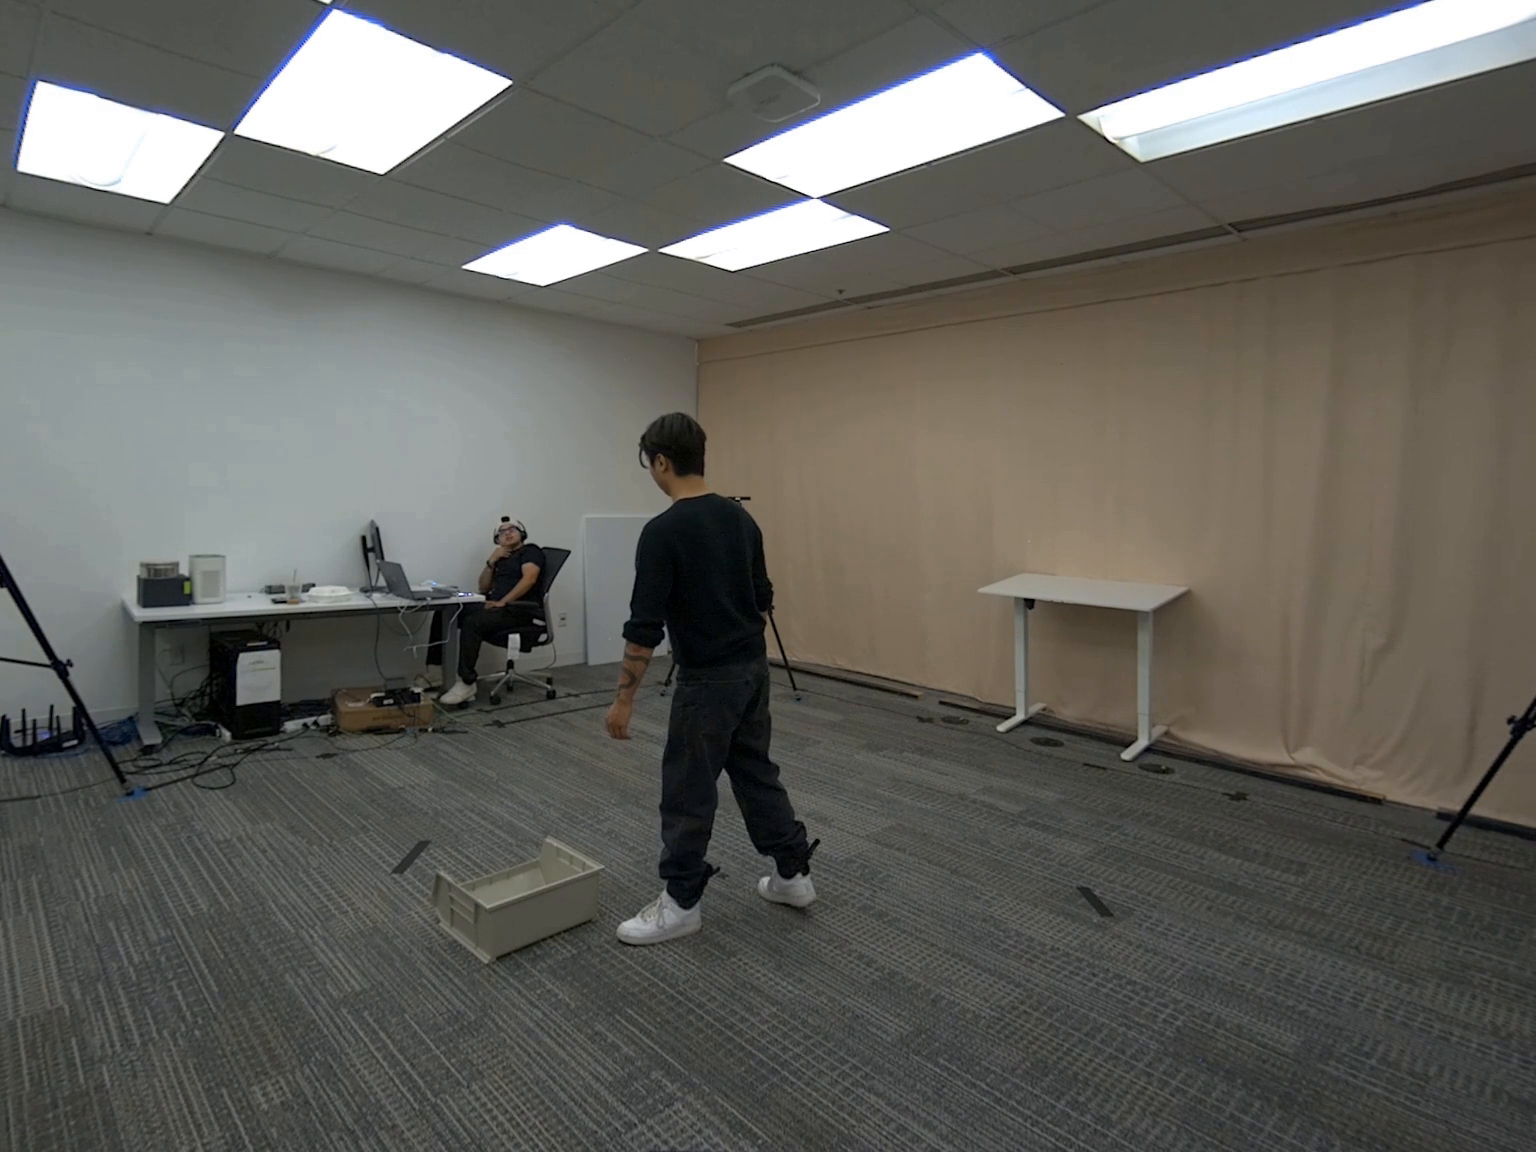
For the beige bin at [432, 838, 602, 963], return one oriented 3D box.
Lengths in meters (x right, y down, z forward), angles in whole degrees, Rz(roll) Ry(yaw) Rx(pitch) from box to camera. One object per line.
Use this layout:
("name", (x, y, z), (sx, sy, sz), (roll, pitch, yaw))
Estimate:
("beige bin", (-0.816, 1.032, 2.749), (0.387, 0.188, 0.412), (7, 7, 44))
